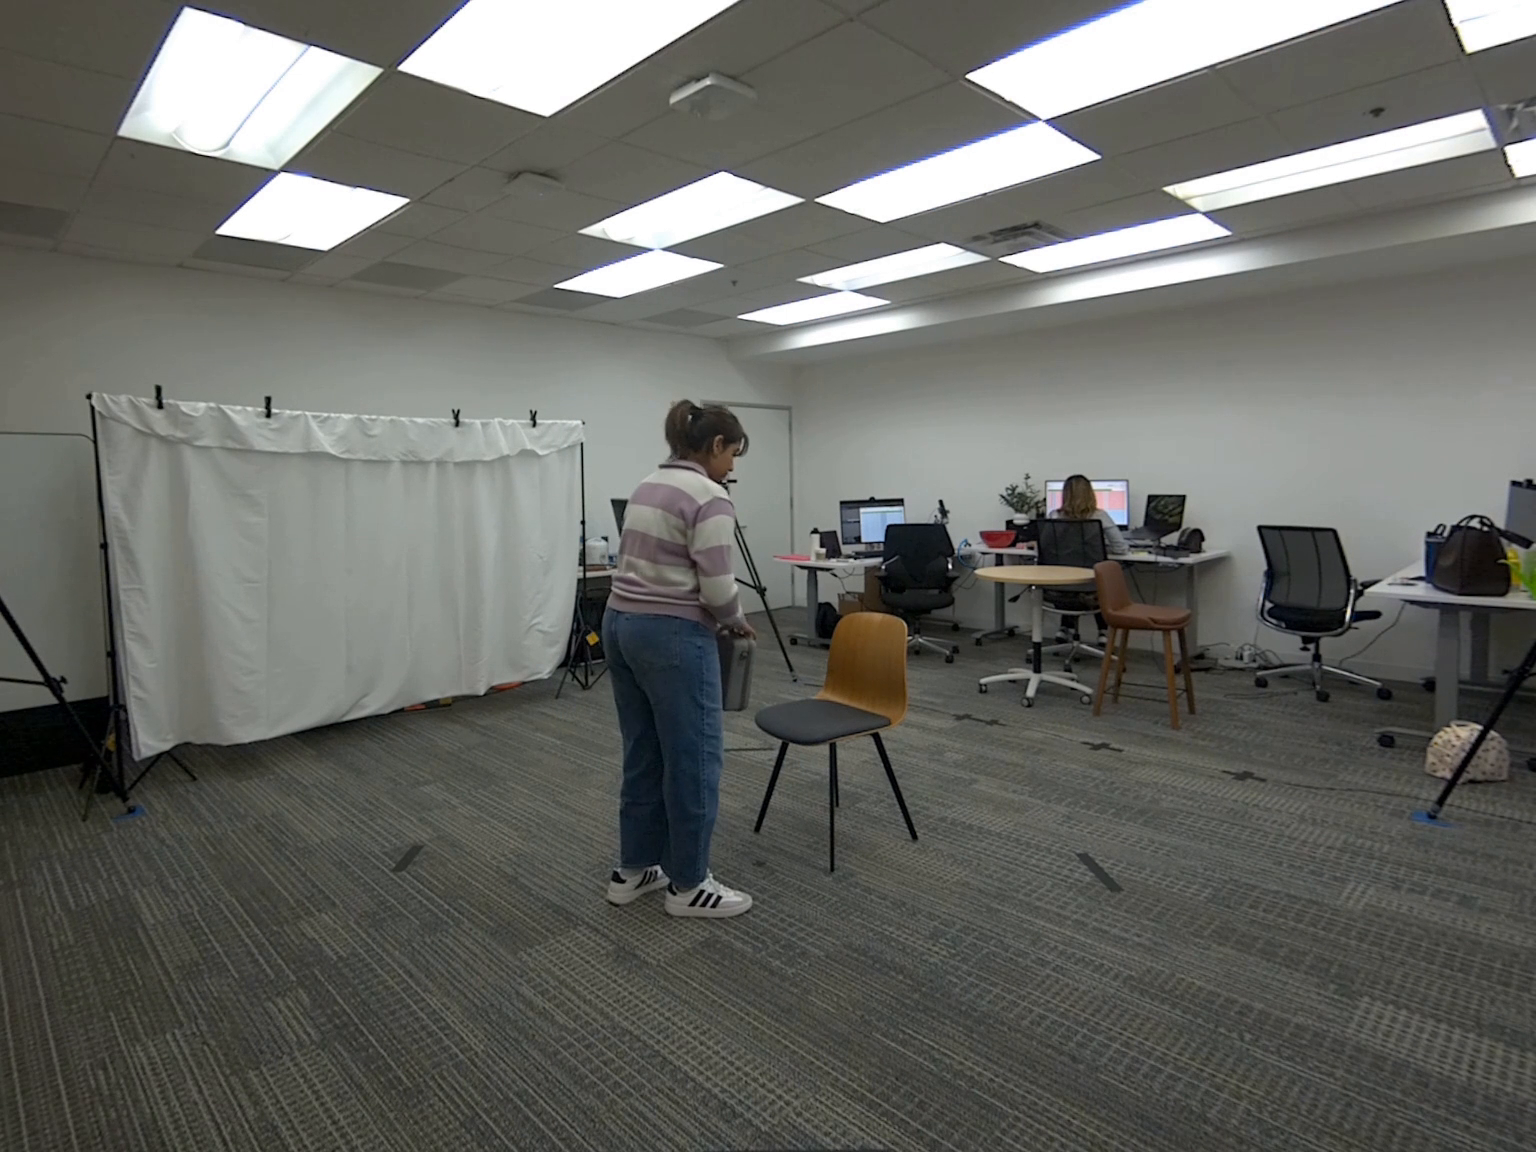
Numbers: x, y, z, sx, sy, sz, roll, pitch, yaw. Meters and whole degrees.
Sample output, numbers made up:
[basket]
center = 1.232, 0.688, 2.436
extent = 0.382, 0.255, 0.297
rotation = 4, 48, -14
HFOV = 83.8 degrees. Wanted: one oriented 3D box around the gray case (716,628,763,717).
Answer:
[gray case]
center = -0.152, 0.305, 2.923
extent = 0.101, 0.259, 0.265
rotation = 3, 8, -35
